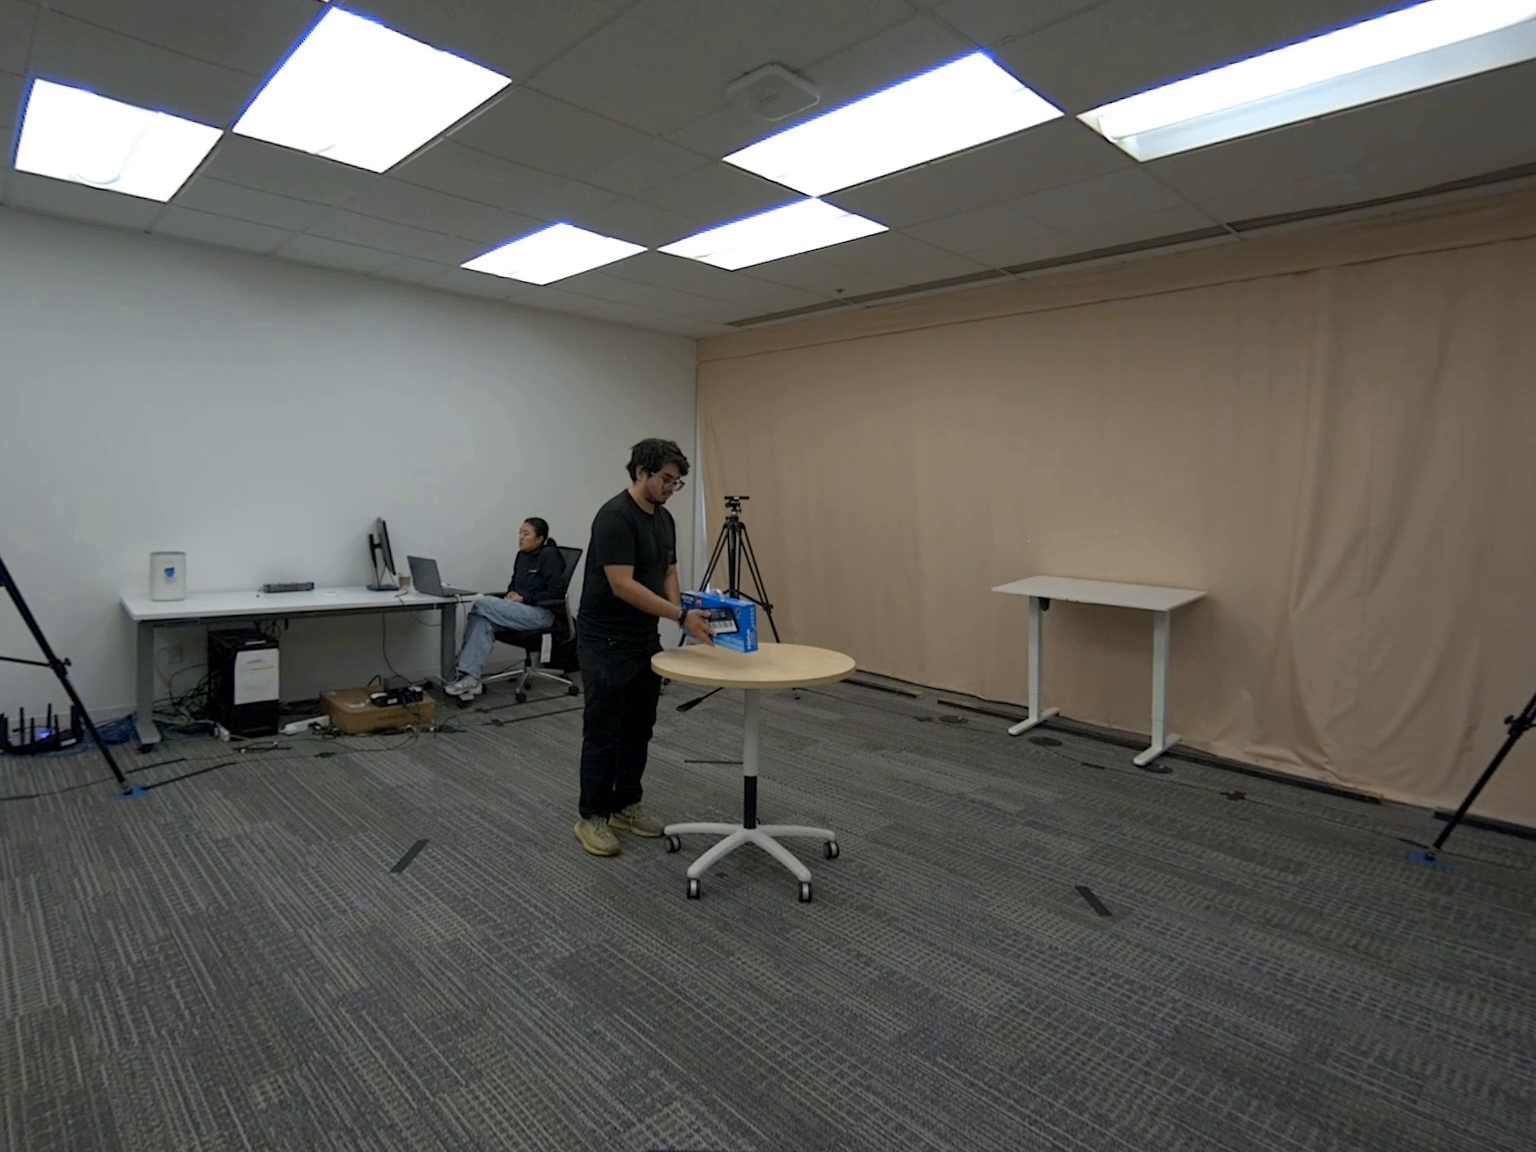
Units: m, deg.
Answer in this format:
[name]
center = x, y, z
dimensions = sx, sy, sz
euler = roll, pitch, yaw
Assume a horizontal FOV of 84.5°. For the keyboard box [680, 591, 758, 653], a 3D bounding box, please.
[keyboard box]
center = -0.195, 0.169, 3.161
dimensions = 0.058, 0.175, 0.448
euler = -6, 9, -34
